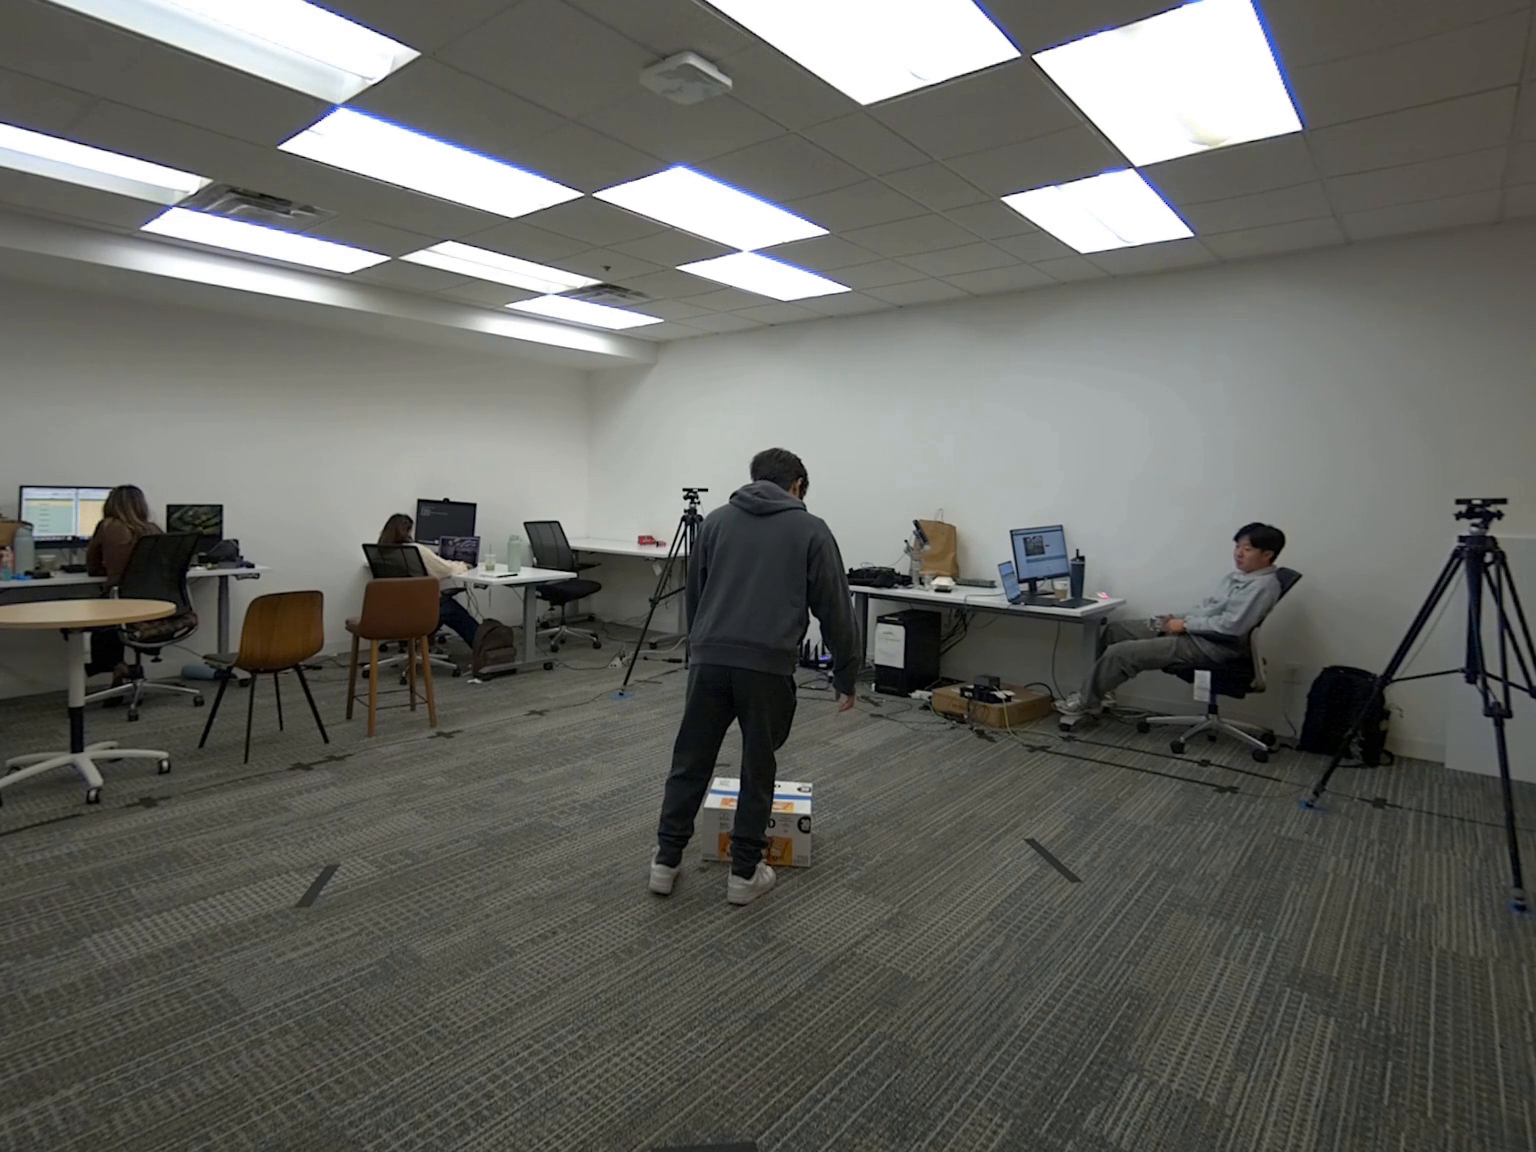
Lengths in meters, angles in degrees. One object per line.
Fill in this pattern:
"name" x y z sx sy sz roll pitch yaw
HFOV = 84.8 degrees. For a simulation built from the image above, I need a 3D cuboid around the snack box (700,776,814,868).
"snack box" -0.041 0.951 3.320 0.408 0.205 0.339 1 5 5
